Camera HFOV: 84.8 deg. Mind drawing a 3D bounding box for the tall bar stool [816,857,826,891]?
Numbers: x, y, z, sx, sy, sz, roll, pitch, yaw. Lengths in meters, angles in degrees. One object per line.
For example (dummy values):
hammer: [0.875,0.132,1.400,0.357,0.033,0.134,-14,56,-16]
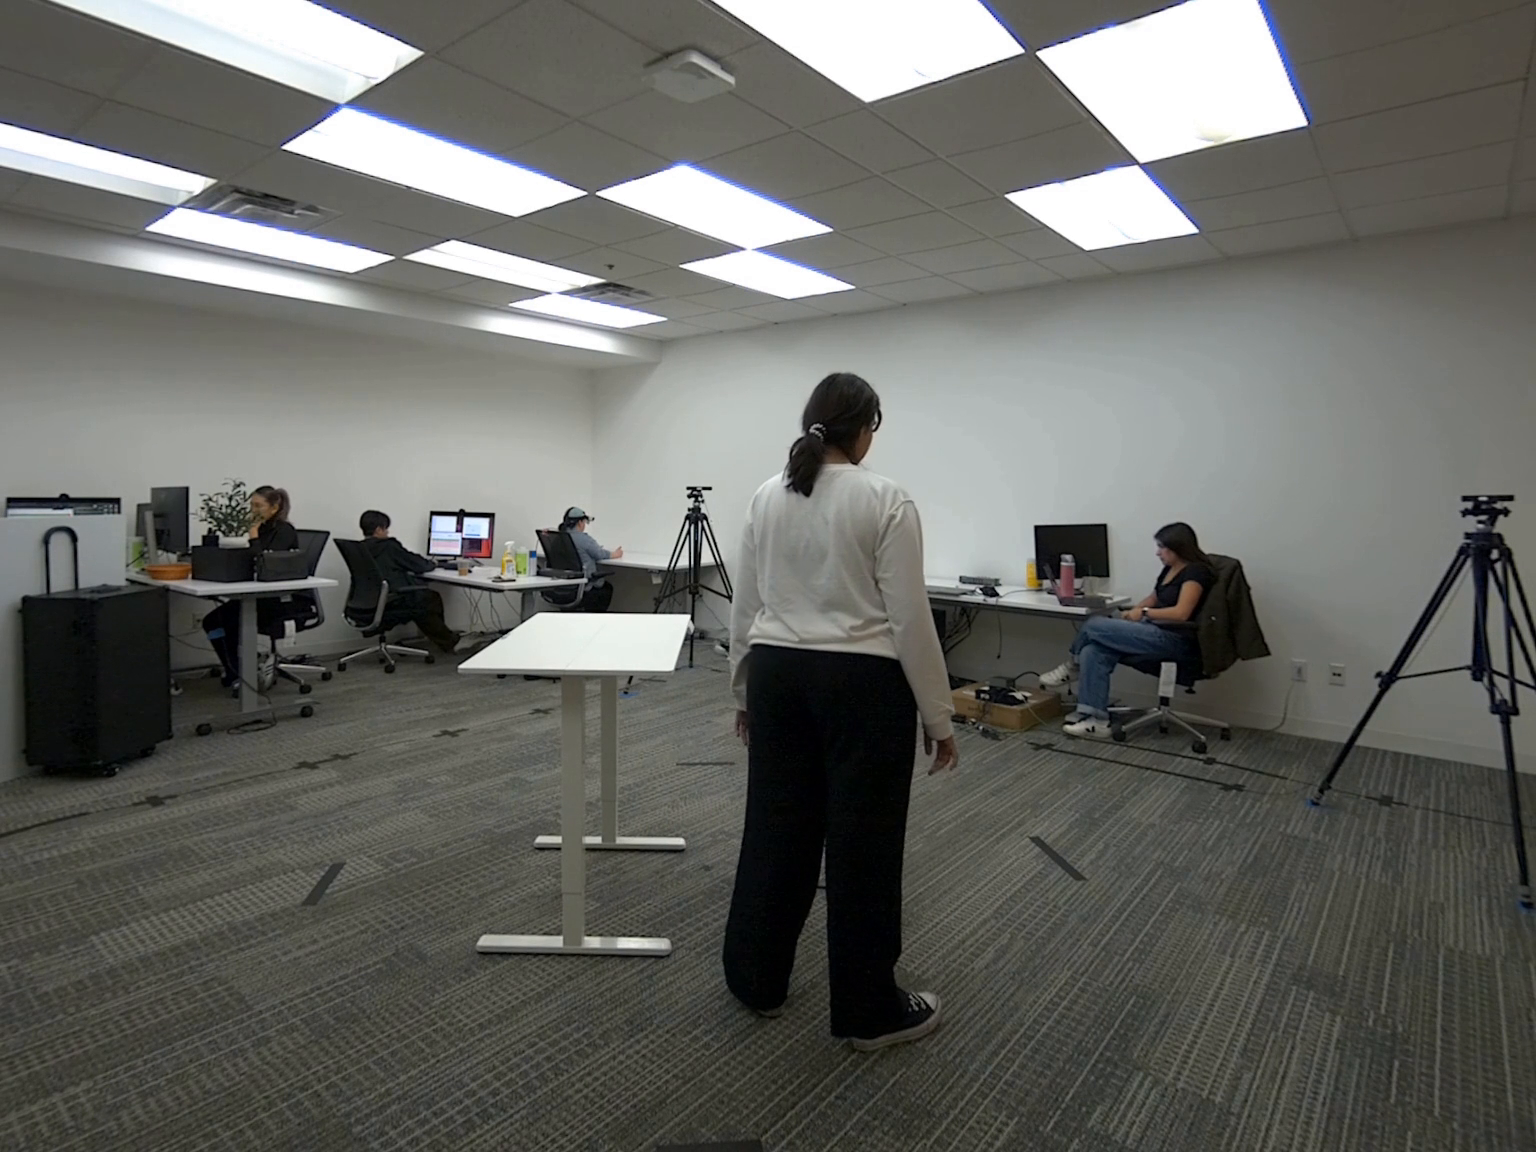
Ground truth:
tall bar stool: [0.160,0.667,2.819,0.472,0.886,0.454,4,4,7]
